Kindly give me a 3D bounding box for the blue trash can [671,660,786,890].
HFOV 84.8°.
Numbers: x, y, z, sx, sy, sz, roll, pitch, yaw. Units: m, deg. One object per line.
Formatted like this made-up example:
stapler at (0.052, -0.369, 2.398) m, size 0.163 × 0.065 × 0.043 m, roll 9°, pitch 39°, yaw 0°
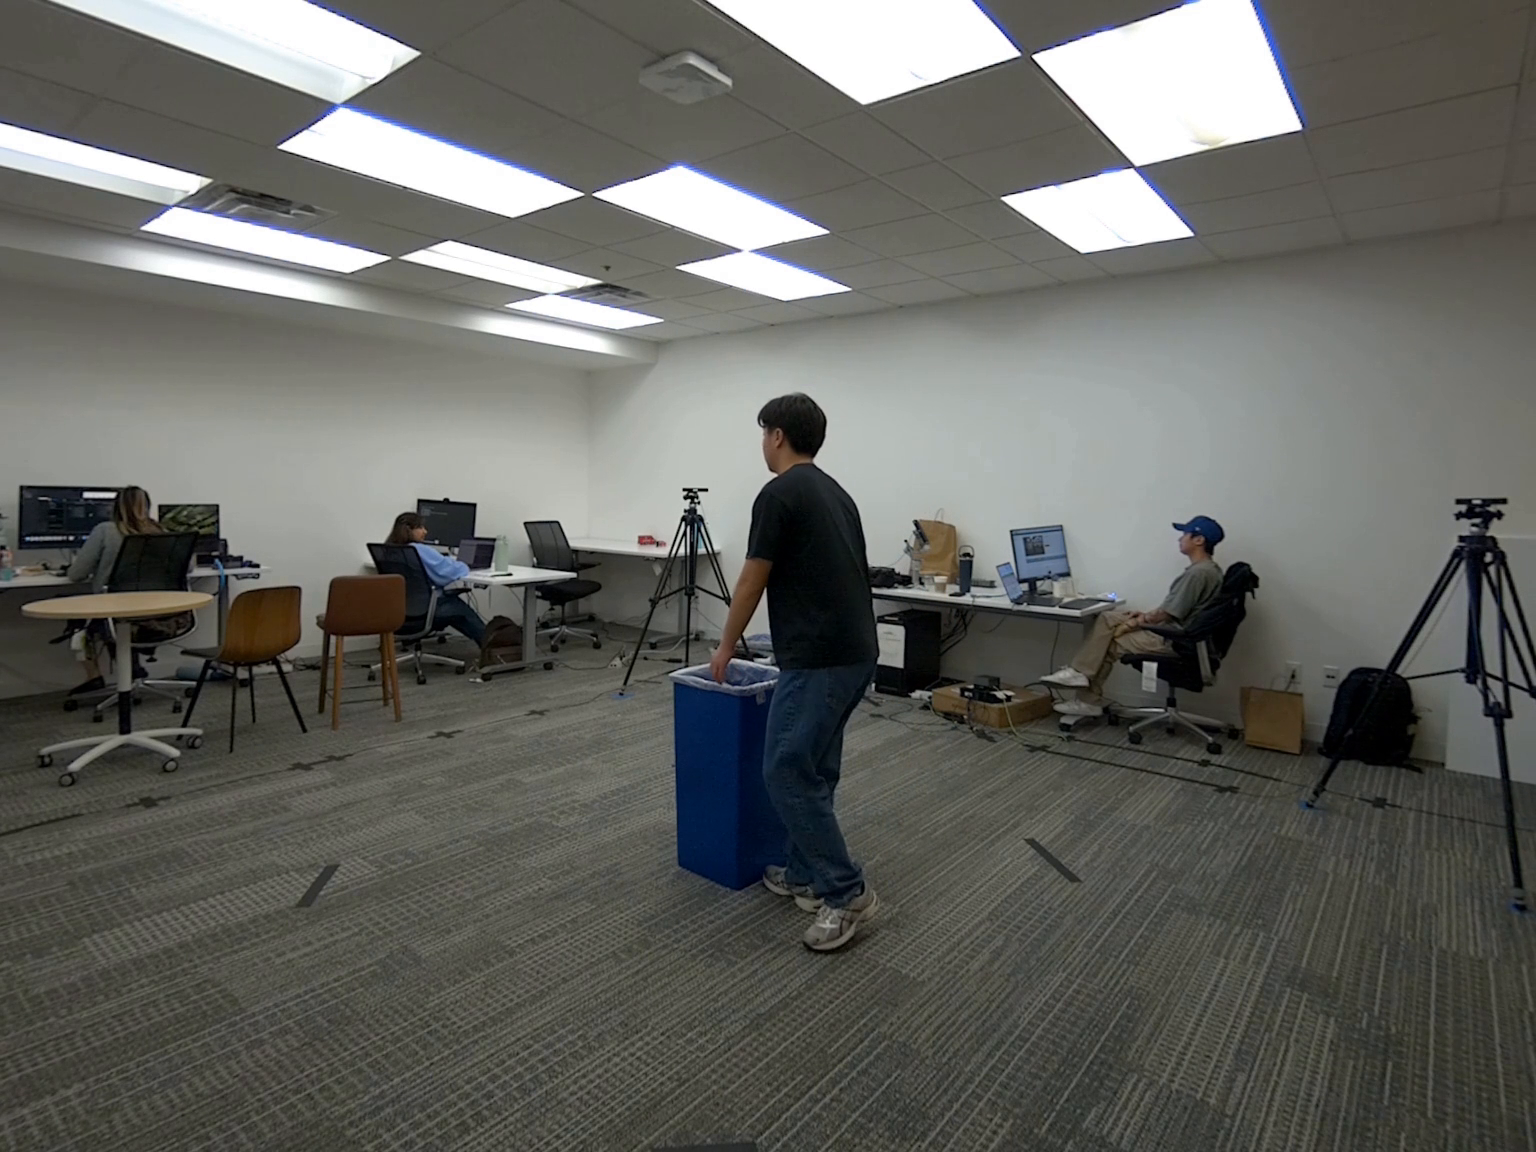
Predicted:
blue trash can at (-0.141, 0.708, 3.140) m, size 0.387 × 0.712 × 0.366 m, roll 4°, pitch 4°, yaw 40°
